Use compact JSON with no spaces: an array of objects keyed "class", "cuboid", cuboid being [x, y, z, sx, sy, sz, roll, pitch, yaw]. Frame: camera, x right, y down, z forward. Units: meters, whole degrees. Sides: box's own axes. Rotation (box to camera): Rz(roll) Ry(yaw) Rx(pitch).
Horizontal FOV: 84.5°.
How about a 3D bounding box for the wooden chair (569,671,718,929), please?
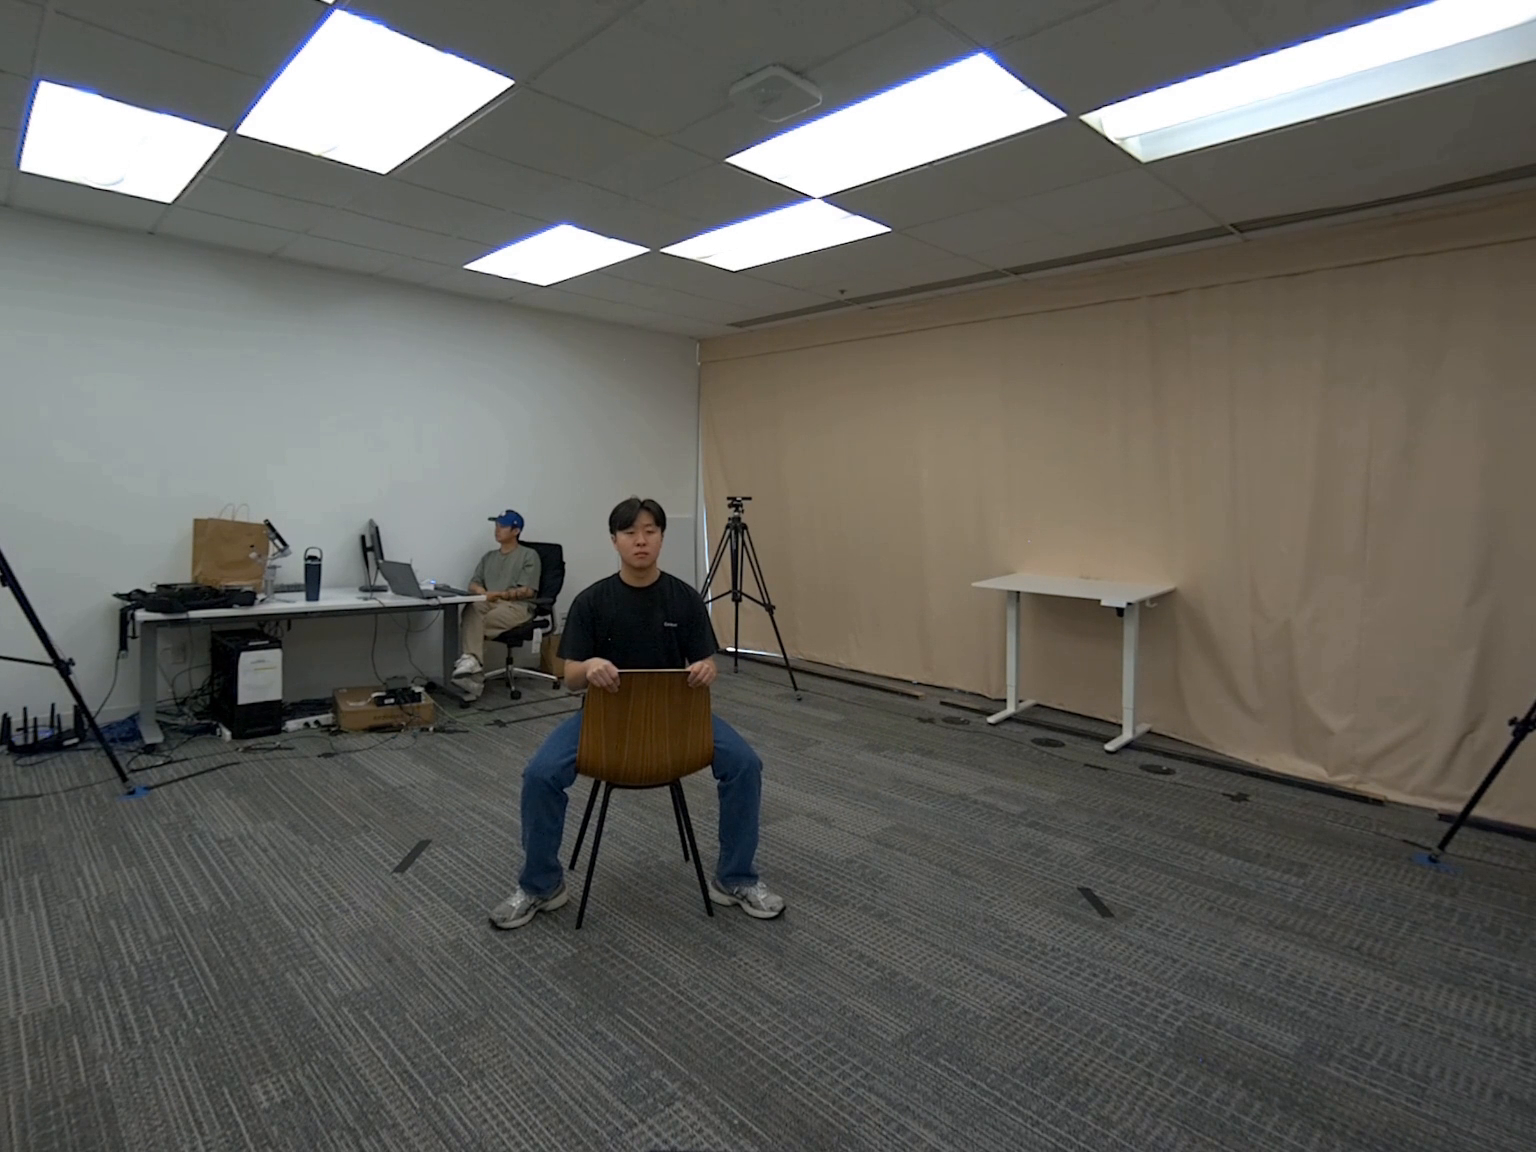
[{"class":"wooden chair","cuboid":[-0.452,0.690,2.943,0.473,0.873,0.531,0,7,-15]}]
